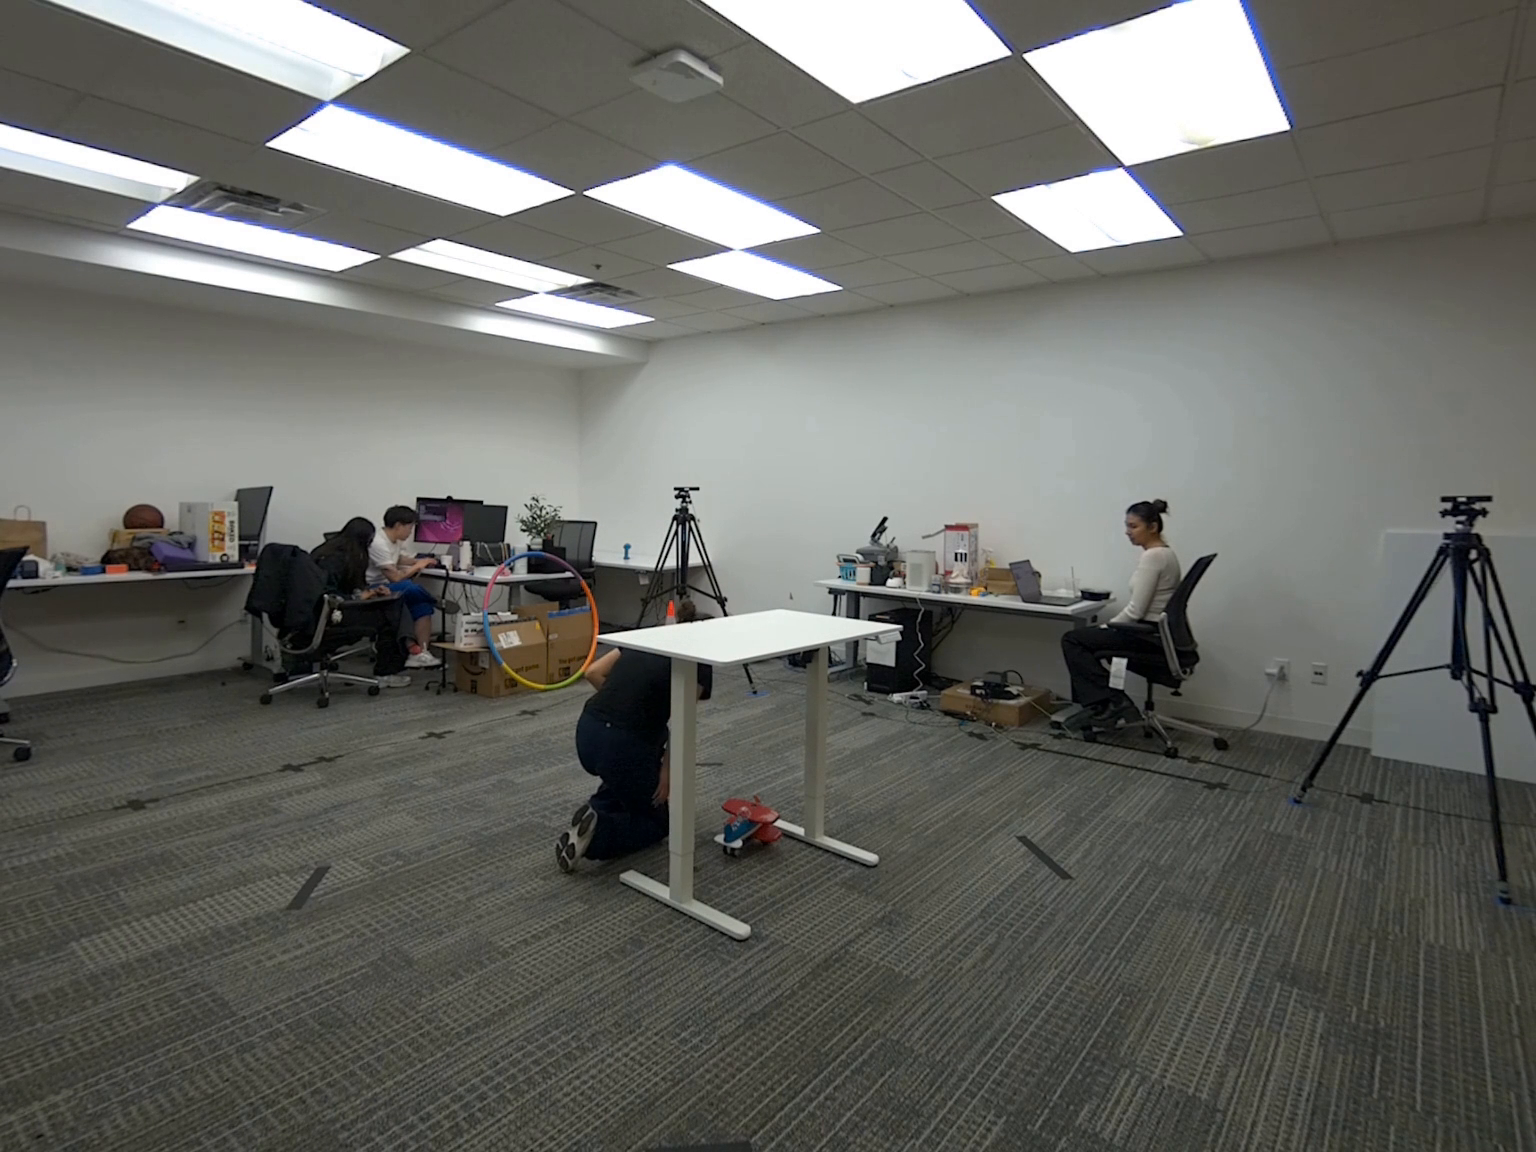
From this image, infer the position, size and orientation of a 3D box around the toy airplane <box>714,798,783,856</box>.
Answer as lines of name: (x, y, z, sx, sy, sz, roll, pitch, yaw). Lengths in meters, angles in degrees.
toy airplane: (-0.059, 0.983, 3.300, 0.254, 0.156, 0.257, 3, 4, 9)
